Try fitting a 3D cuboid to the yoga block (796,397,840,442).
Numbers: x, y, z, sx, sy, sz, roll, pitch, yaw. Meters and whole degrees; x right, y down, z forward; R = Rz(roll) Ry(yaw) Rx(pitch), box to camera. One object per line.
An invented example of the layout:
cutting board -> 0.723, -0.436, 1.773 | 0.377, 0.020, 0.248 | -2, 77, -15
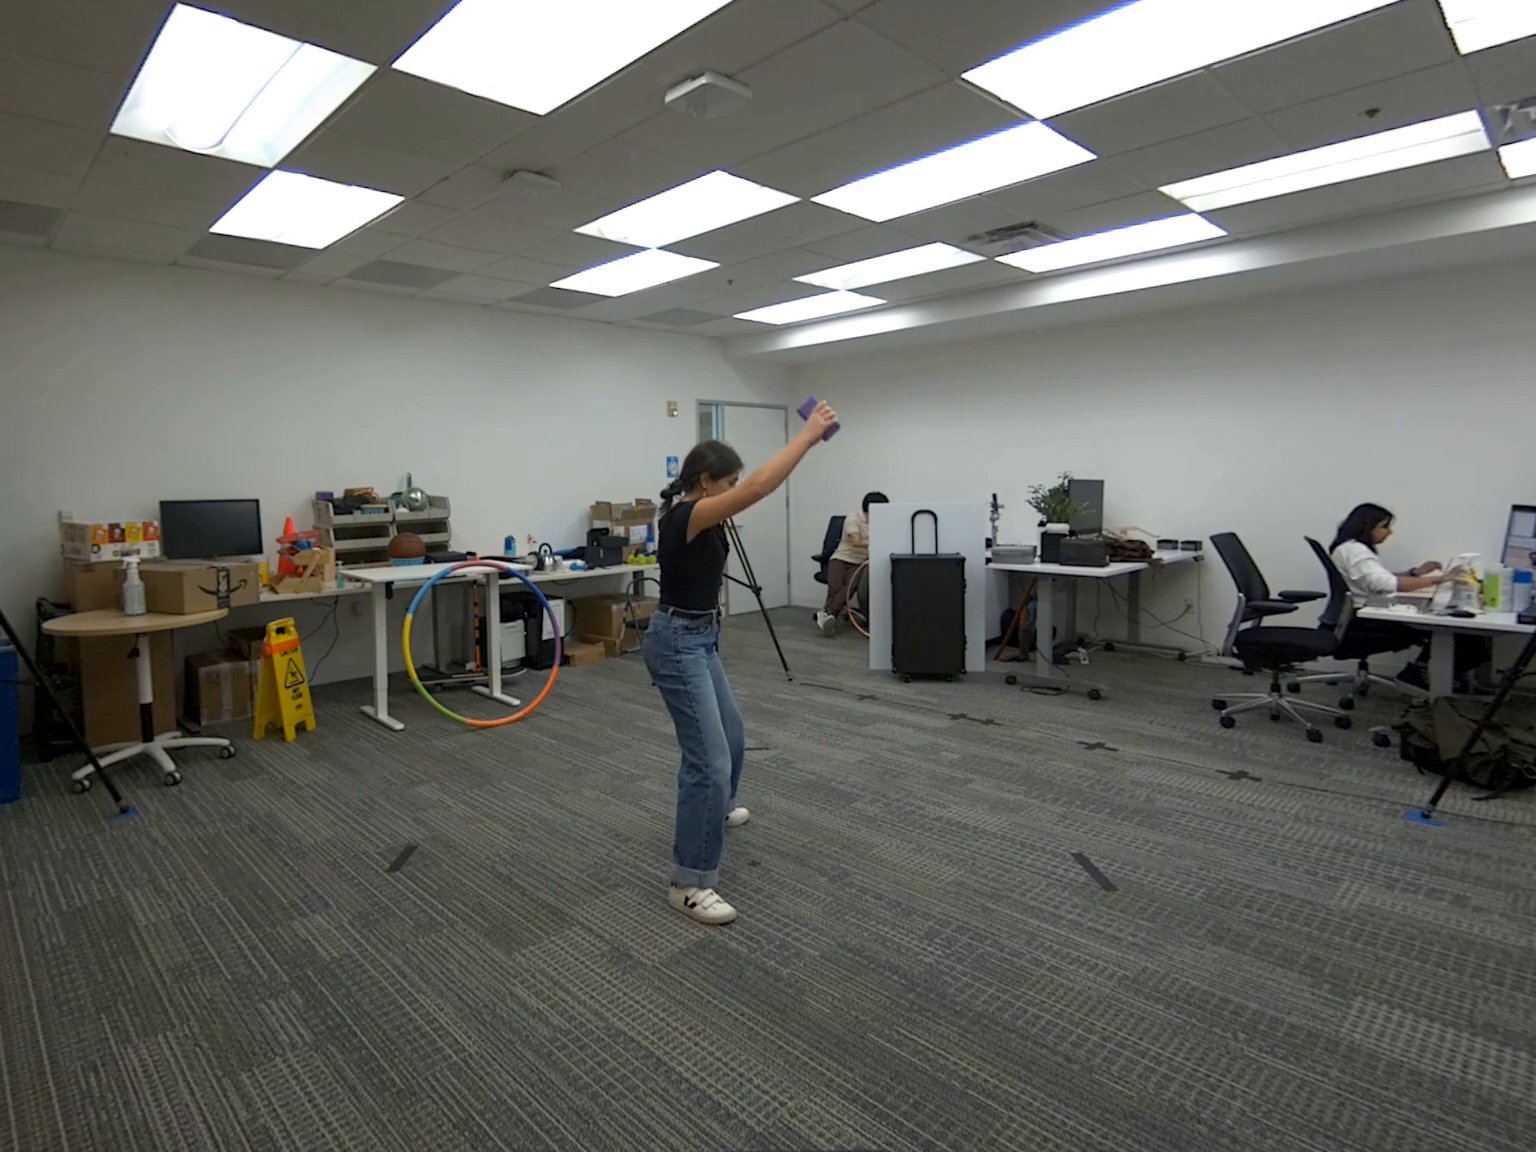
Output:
yoga block -> 0.182, -0.524, 2.964 | 0.076, 0.149, 0.229 | -41, 1, 8
